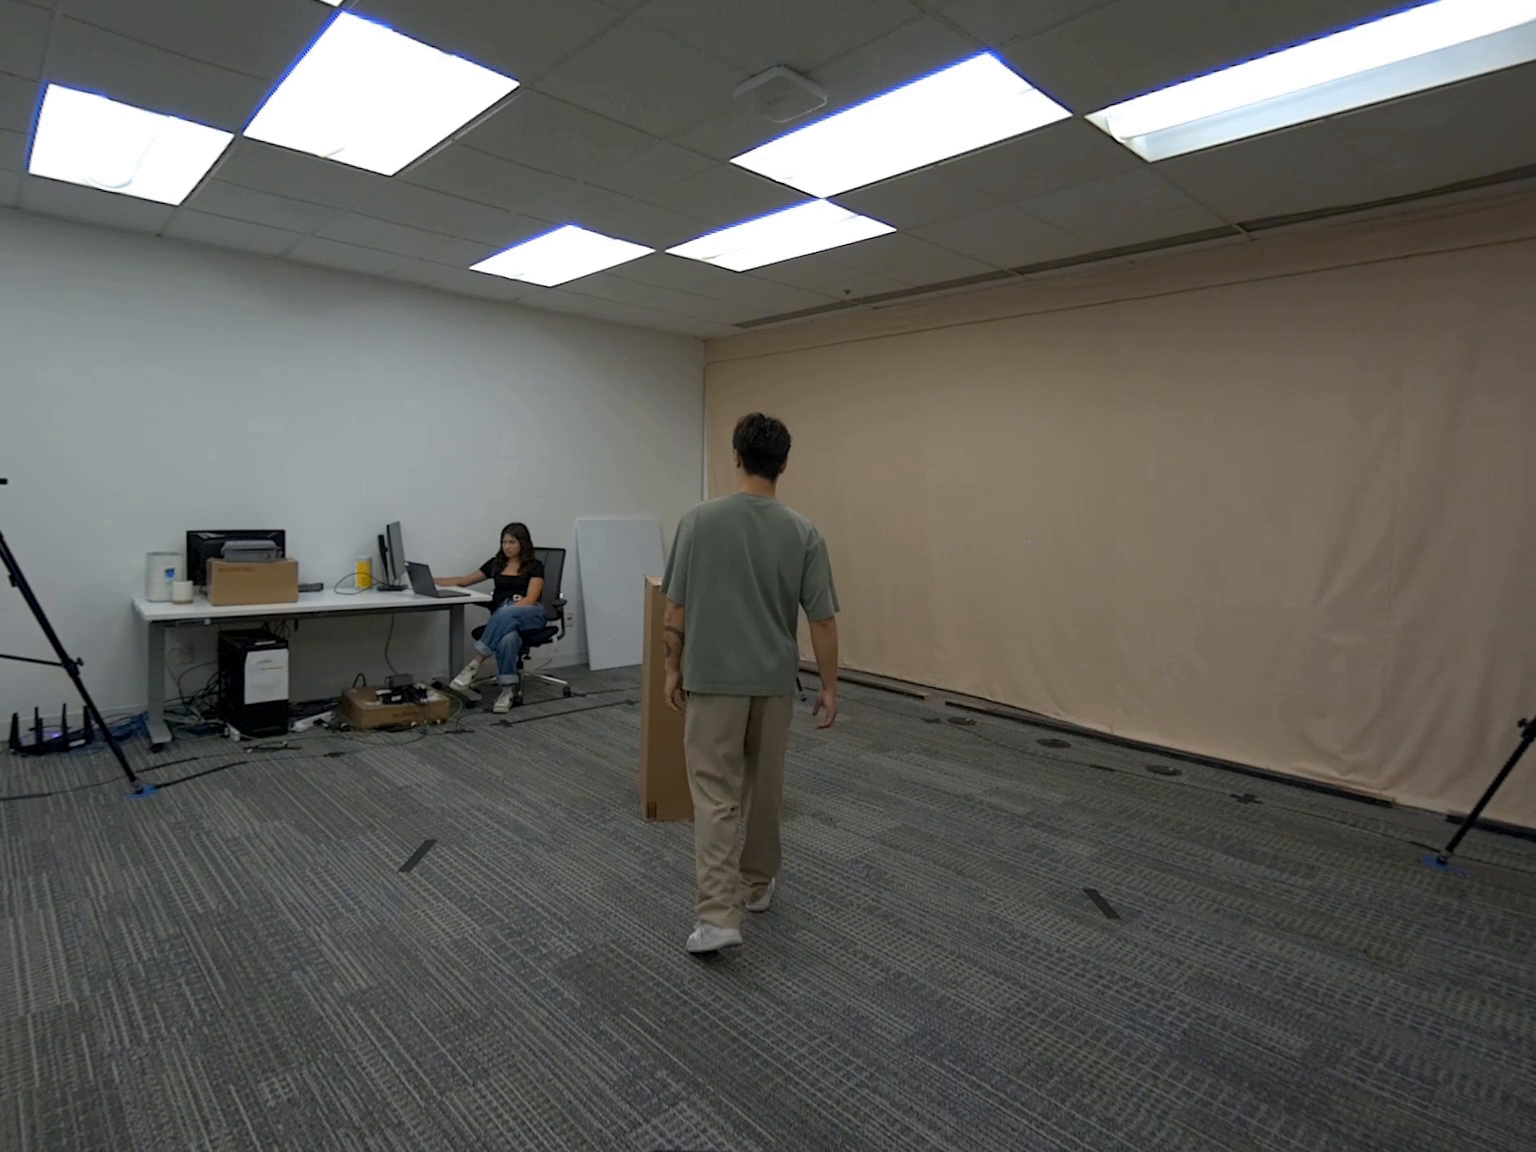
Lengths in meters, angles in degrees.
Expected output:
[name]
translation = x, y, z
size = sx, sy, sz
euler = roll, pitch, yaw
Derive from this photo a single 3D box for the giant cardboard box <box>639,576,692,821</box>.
[giant cardboard box]
translation = -0.281, 0.533, 3.842
size = 0.572, 1.024, 0.431
euler = 1, 3, -12
